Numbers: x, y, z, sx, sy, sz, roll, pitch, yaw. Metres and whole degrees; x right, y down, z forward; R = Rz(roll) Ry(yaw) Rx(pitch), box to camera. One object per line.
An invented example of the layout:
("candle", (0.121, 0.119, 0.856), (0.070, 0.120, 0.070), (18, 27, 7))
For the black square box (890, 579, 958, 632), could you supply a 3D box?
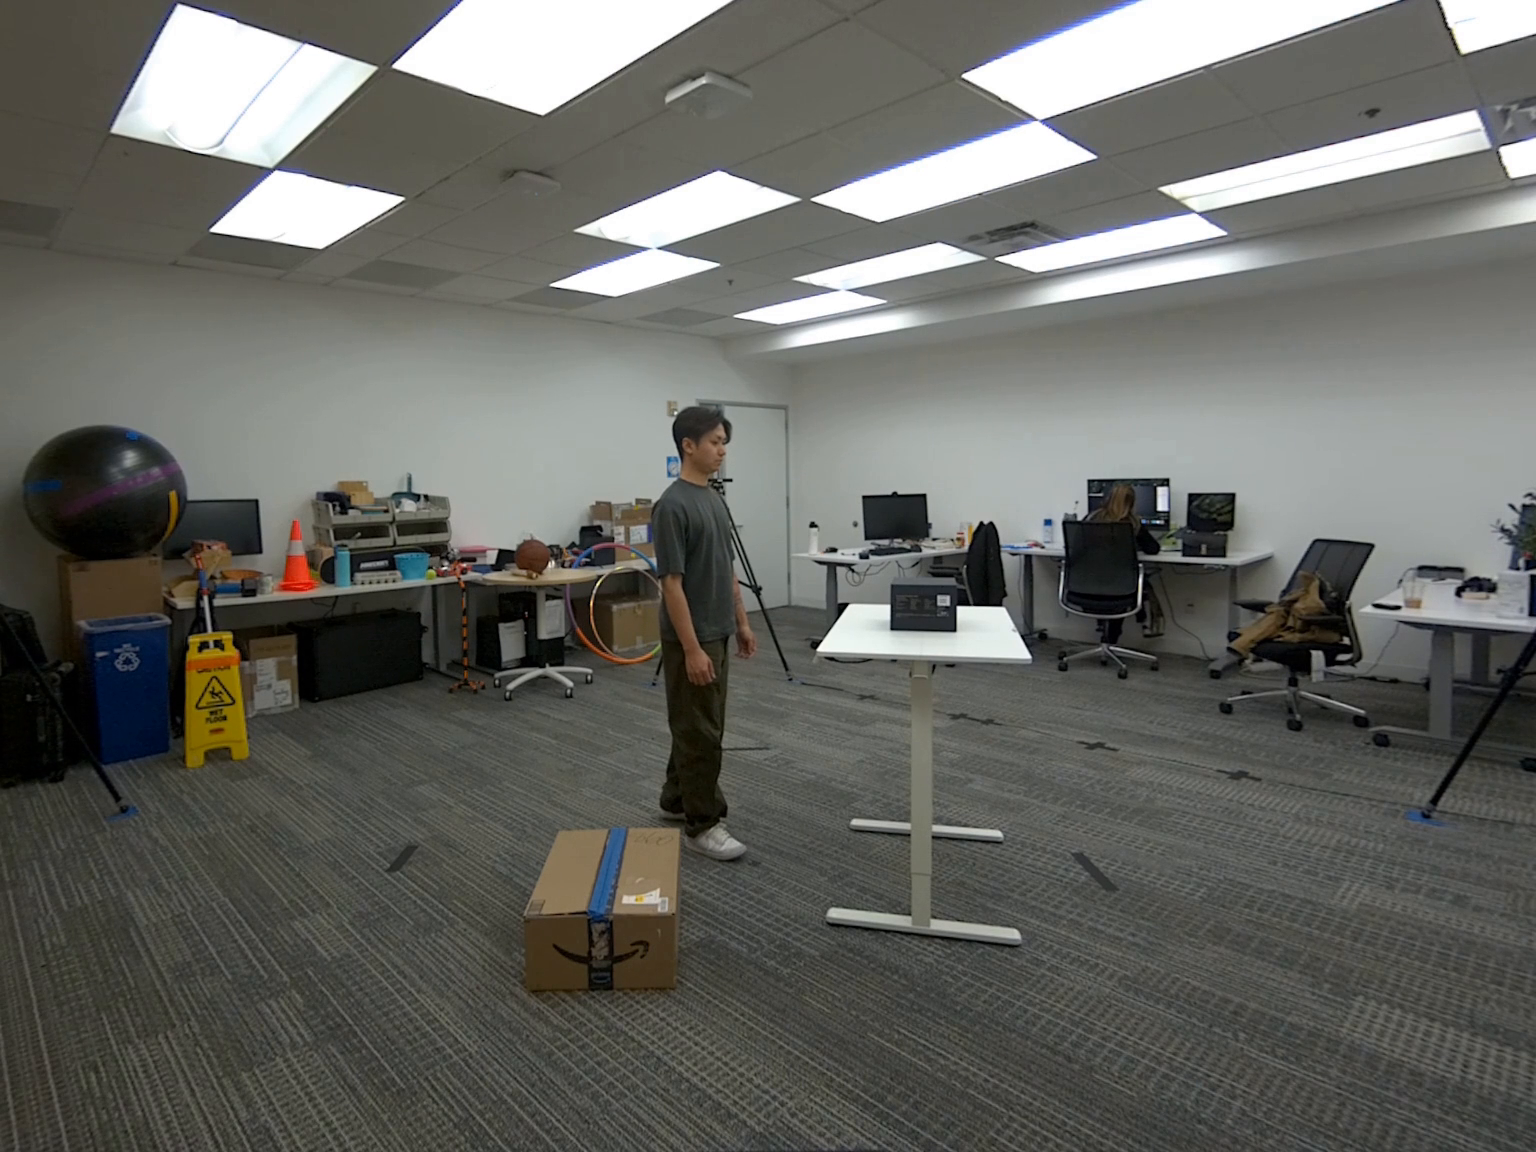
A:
("black square box", (0.538, 0.092, 2.927), (0.220, 0.155, 0.225), (1, 4, 14))
